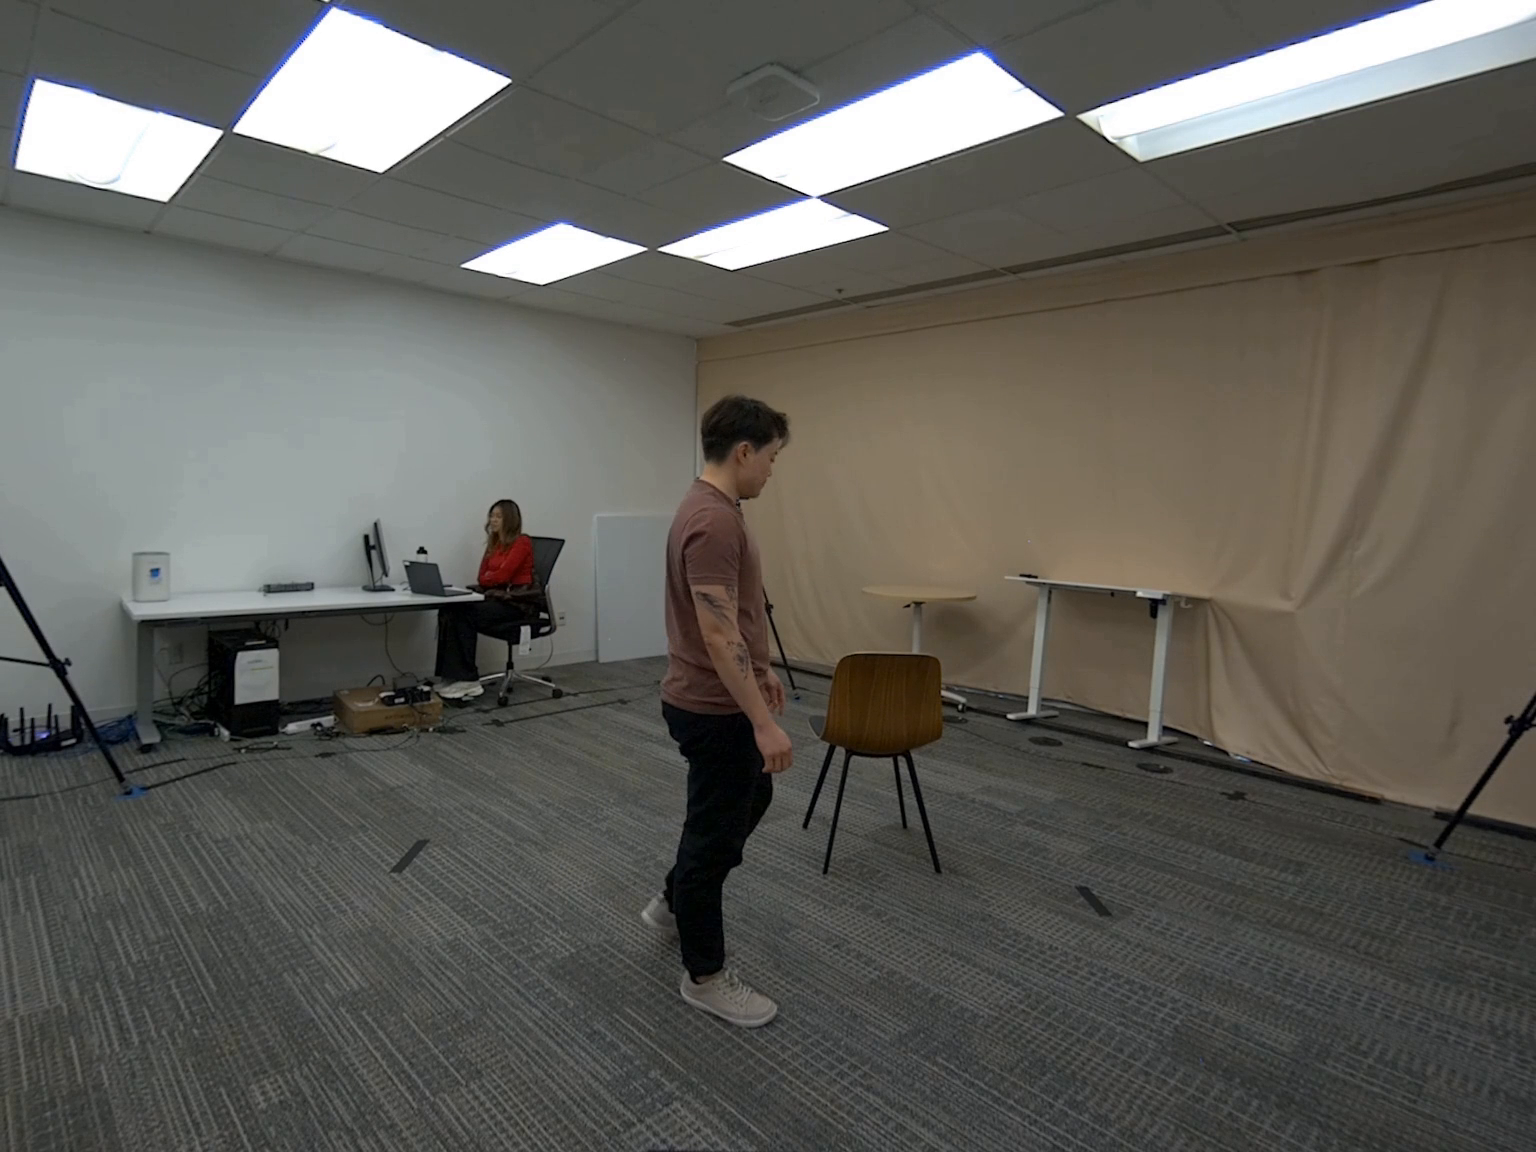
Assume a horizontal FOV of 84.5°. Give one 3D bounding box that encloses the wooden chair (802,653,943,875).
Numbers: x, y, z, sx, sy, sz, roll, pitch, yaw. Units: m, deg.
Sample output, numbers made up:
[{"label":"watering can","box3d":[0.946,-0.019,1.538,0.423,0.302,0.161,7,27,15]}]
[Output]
[{"label":"wooden chair","box3d":[0.397,0.665,3.349,0.475,0.873,0.529,1,7,-7]}]
